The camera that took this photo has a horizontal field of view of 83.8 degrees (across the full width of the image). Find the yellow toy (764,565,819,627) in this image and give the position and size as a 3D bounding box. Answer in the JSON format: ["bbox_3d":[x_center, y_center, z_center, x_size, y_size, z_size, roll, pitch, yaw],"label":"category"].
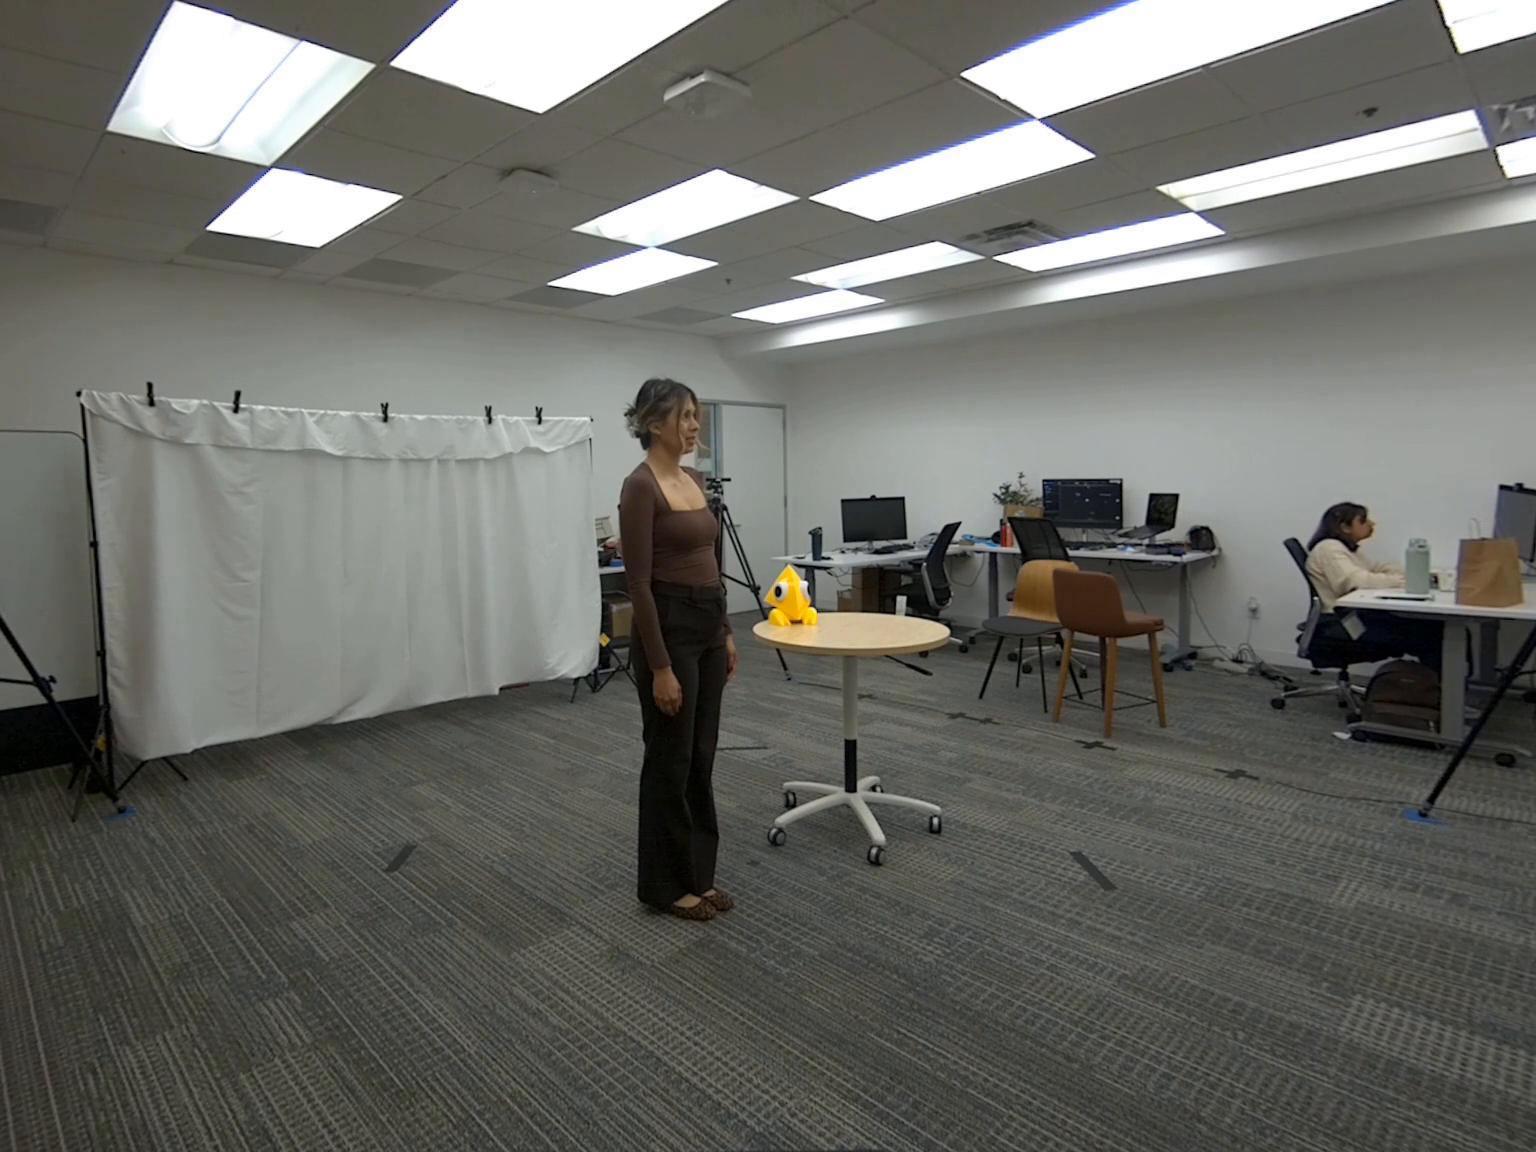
[{"bbox_3d":[0.109,0.076,3.542,0.202,0.230,0.196,-2,5,-12],"label":"yellow toy"}]
